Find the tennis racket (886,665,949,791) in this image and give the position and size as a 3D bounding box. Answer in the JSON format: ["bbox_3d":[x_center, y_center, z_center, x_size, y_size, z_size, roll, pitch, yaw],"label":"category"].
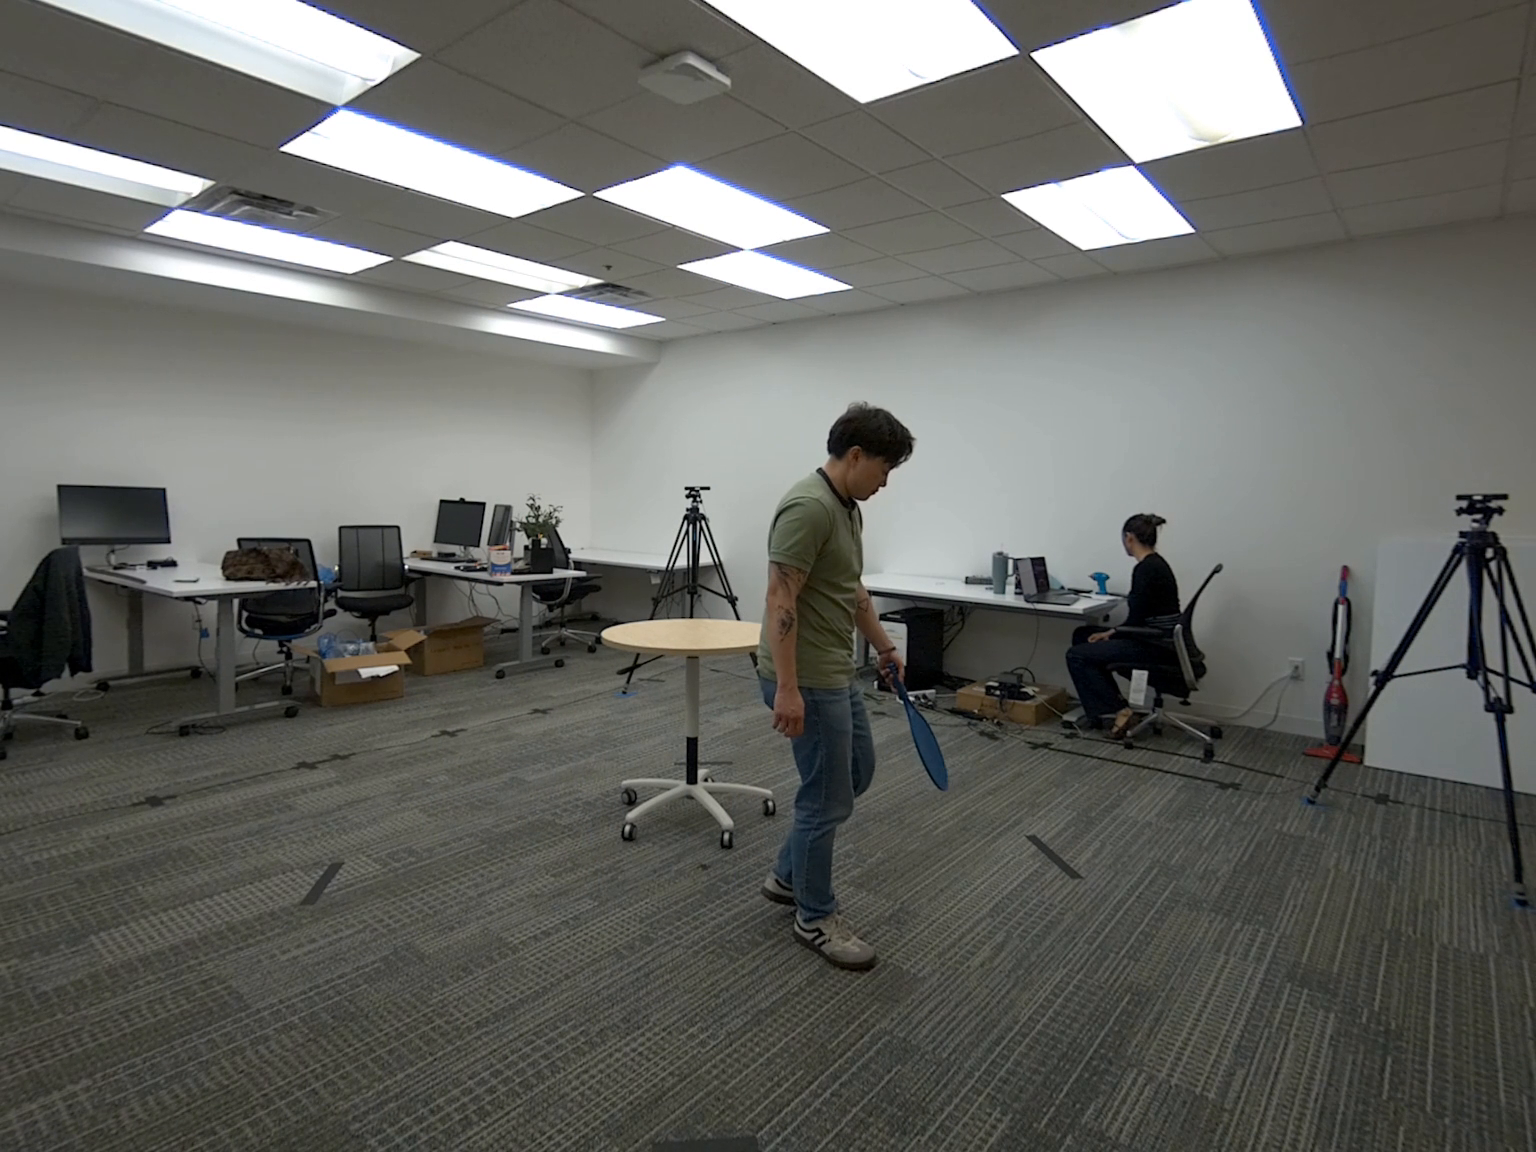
[{"bbox_3d":[0.468,0.479,2.710,0.032,0.434,0.210,-22,-3,24],"label":"tennis racket"}]
